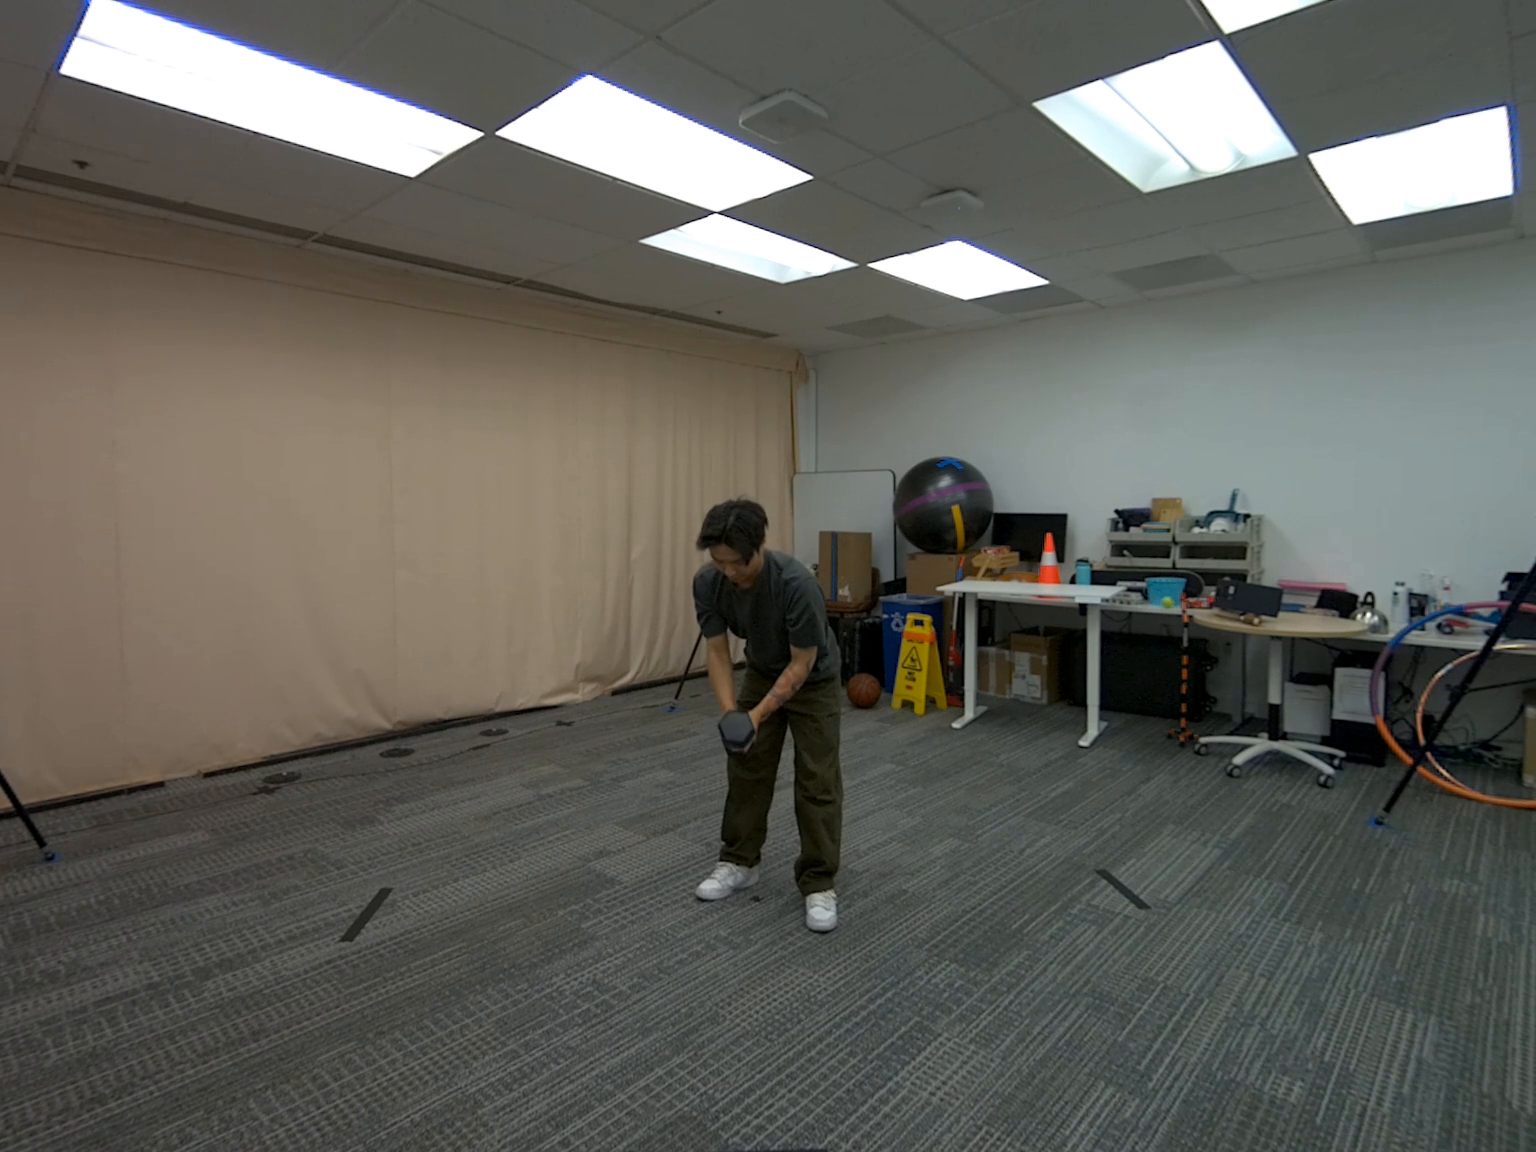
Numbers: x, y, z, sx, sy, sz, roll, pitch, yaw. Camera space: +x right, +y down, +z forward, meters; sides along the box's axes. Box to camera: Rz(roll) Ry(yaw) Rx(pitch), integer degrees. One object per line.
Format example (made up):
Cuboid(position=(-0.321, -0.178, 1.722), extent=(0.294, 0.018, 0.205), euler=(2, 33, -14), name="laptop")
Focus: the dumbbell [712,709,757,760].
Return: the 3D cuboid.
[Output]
Cuboid(position=(-0.100, 0.526, 2.766), extent=(0.108, 0.126, 0.288), euler=(-20, -23, -7), name="dumbbell")
